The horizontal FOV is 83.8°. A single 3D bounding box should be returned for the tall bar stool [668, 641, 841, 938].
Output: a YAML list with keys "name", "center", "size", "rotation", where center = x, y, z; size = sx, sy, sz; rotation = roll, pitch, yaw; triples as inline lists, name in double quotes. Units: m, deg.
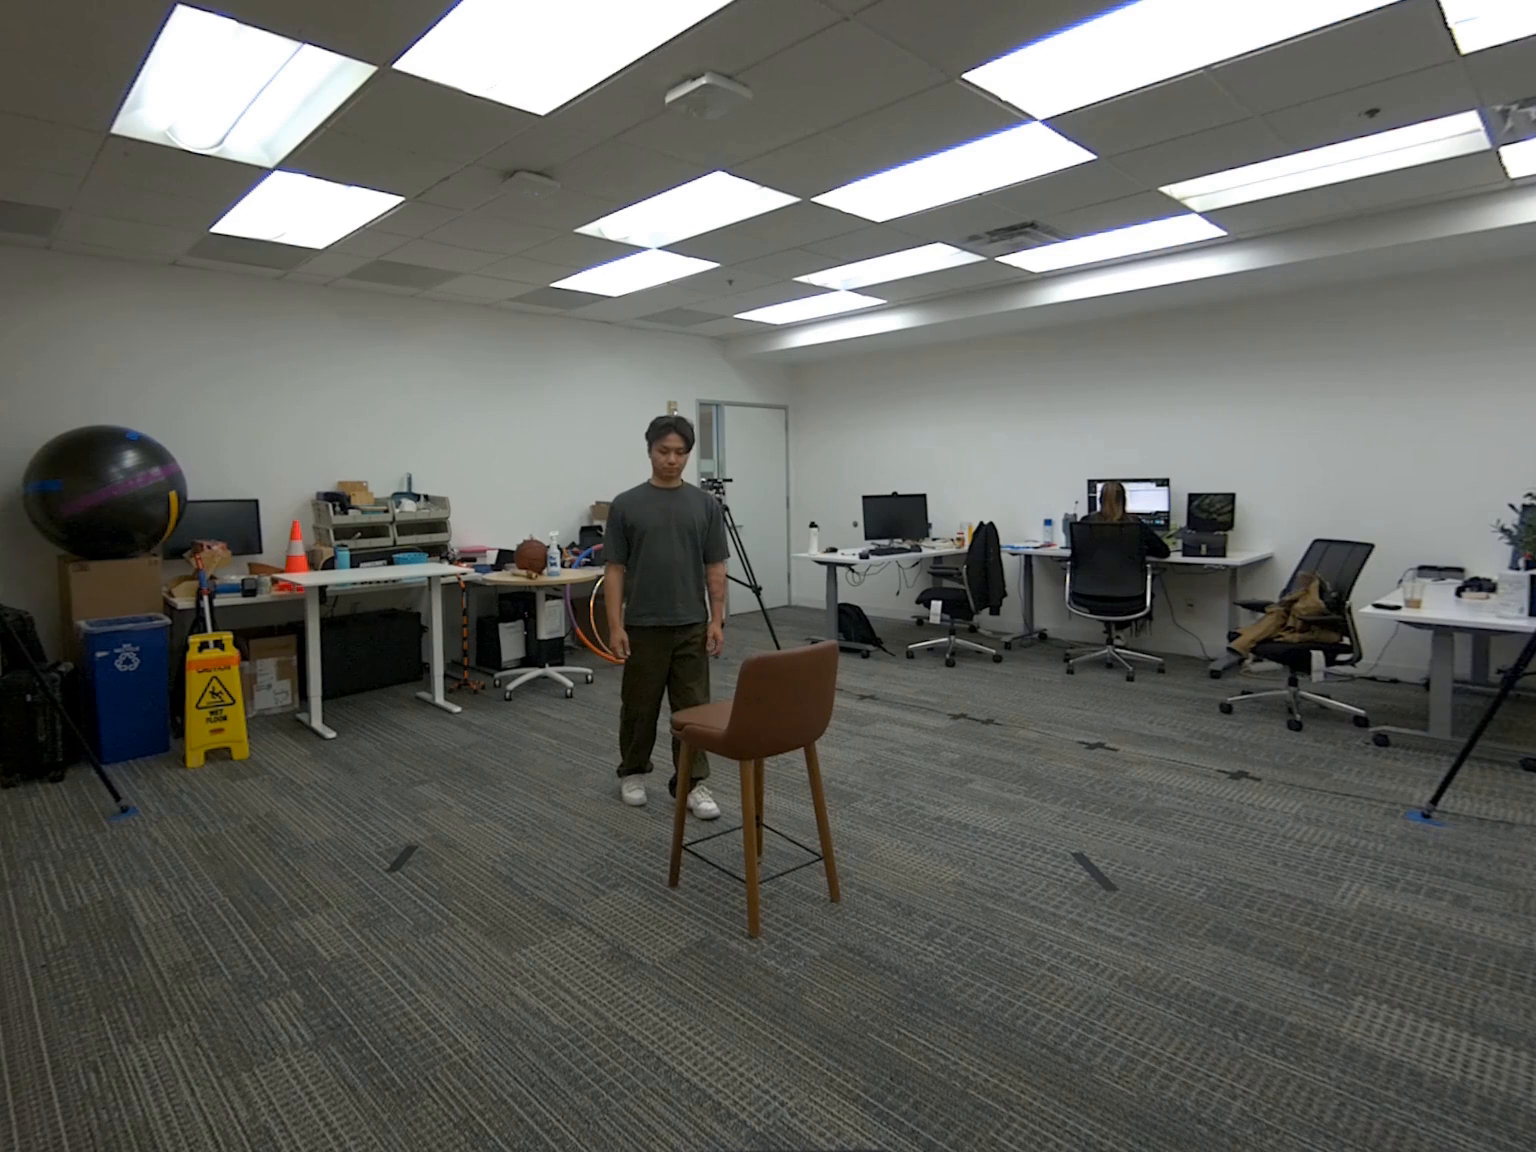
- name: "tall bar stool"
  center: [-0.043, 0.635, 2.863]
  size: [0.444, 0.885, 0.482]
  rotation: [-4, 7, -39]
